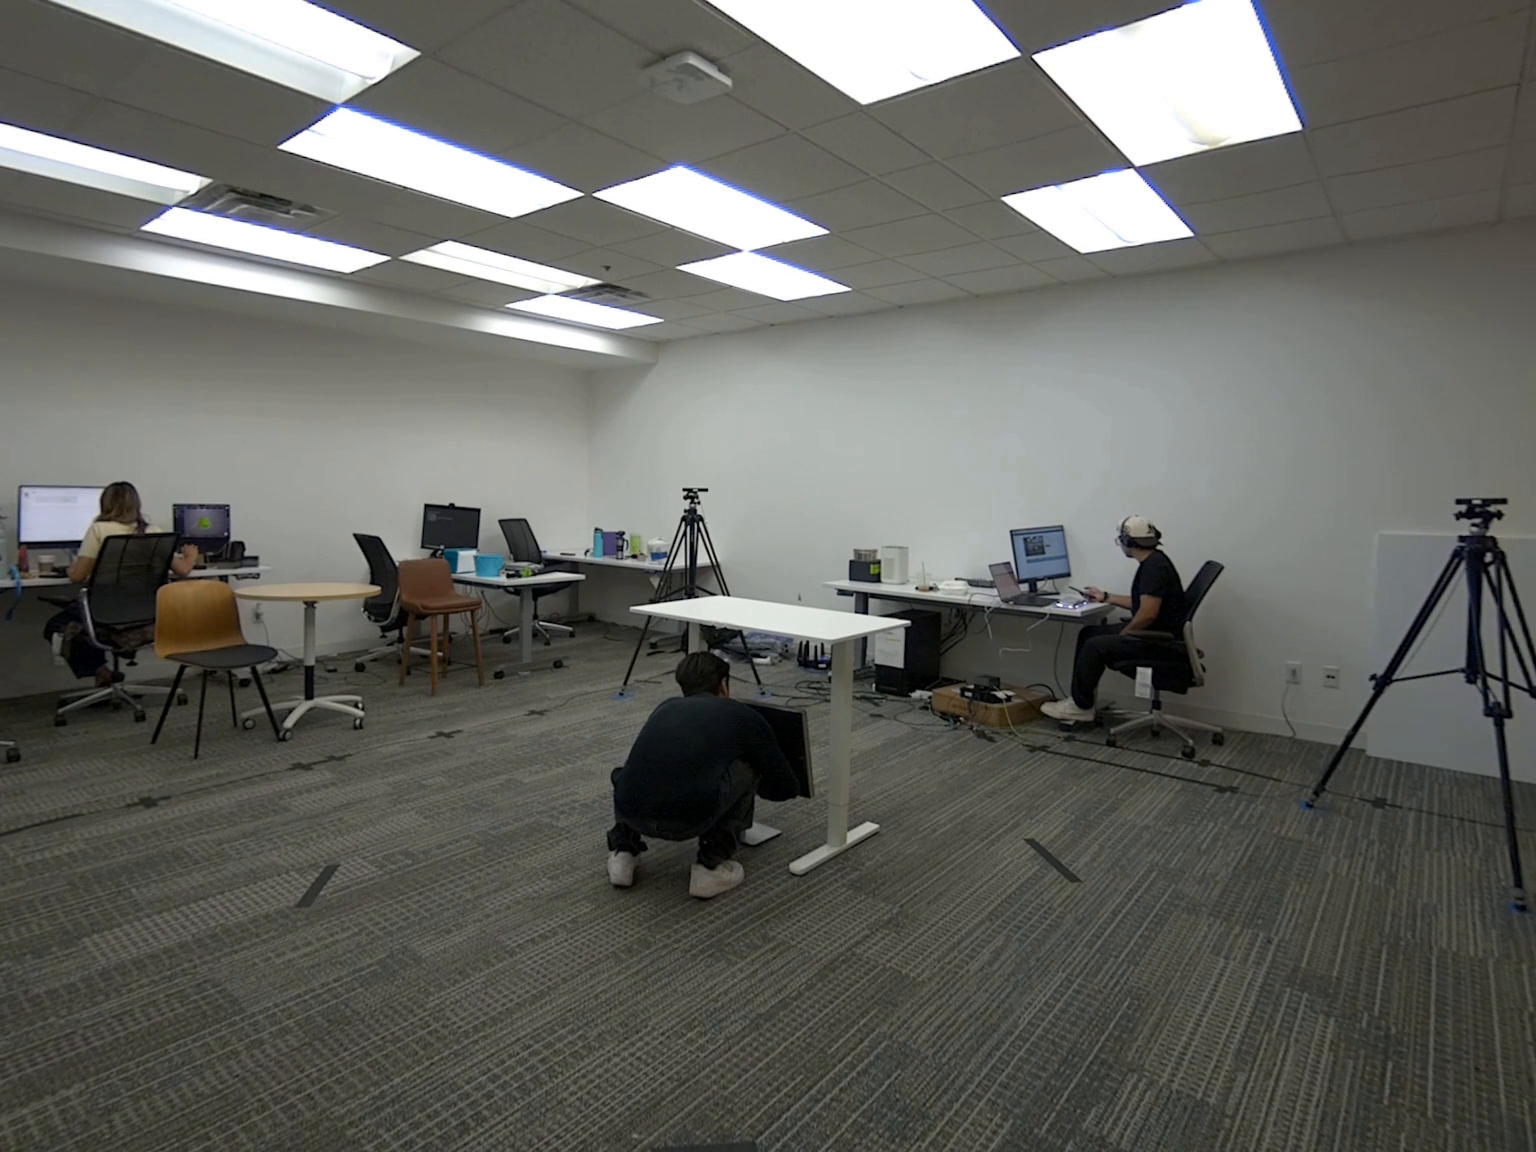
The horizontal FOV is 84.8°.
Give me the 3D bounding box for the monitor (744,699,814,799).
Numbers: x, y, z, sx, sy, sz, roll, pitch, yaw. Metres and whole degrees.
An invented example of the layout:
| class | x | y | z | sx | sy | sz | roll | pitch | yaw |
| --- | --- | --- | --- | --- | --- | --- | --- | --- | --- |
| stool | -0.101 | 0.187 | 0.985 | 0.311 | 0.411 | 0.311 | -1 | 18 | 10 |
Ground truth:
| class | x | y | z | sx | sy | sz | roll | pitch | yaw |
| --- | --- | --- | --- | --- | --- | --- | --- | --- | --- |
| monitor | -0.103 | 0.758 | 3.440 | 0.547 | 0.517 | 0.168 | 3 | -2 | 40 |
